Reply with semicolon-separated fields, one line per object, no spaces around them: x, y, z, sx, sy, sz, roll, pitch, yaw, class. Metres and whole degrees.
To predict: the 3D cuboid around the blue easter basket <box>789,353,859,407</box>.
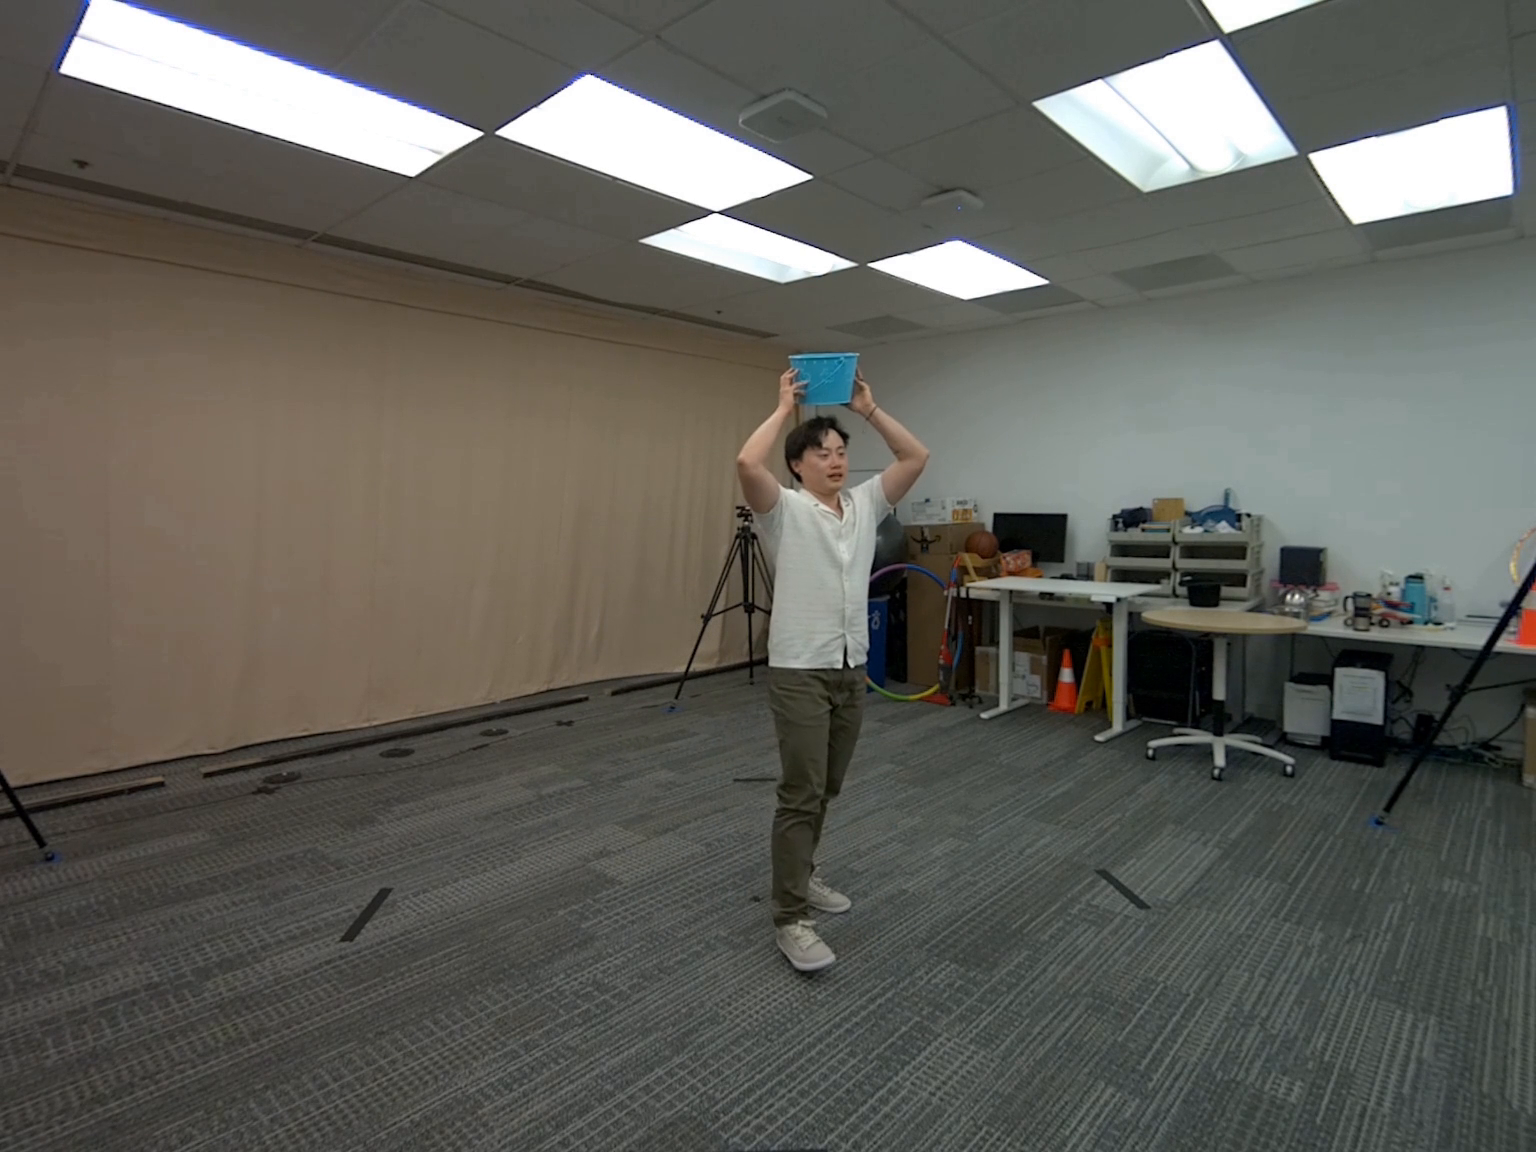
0.183;-0.655;2.777;0.243;0.154;0.246;-2;18;-1;blue easter basket
